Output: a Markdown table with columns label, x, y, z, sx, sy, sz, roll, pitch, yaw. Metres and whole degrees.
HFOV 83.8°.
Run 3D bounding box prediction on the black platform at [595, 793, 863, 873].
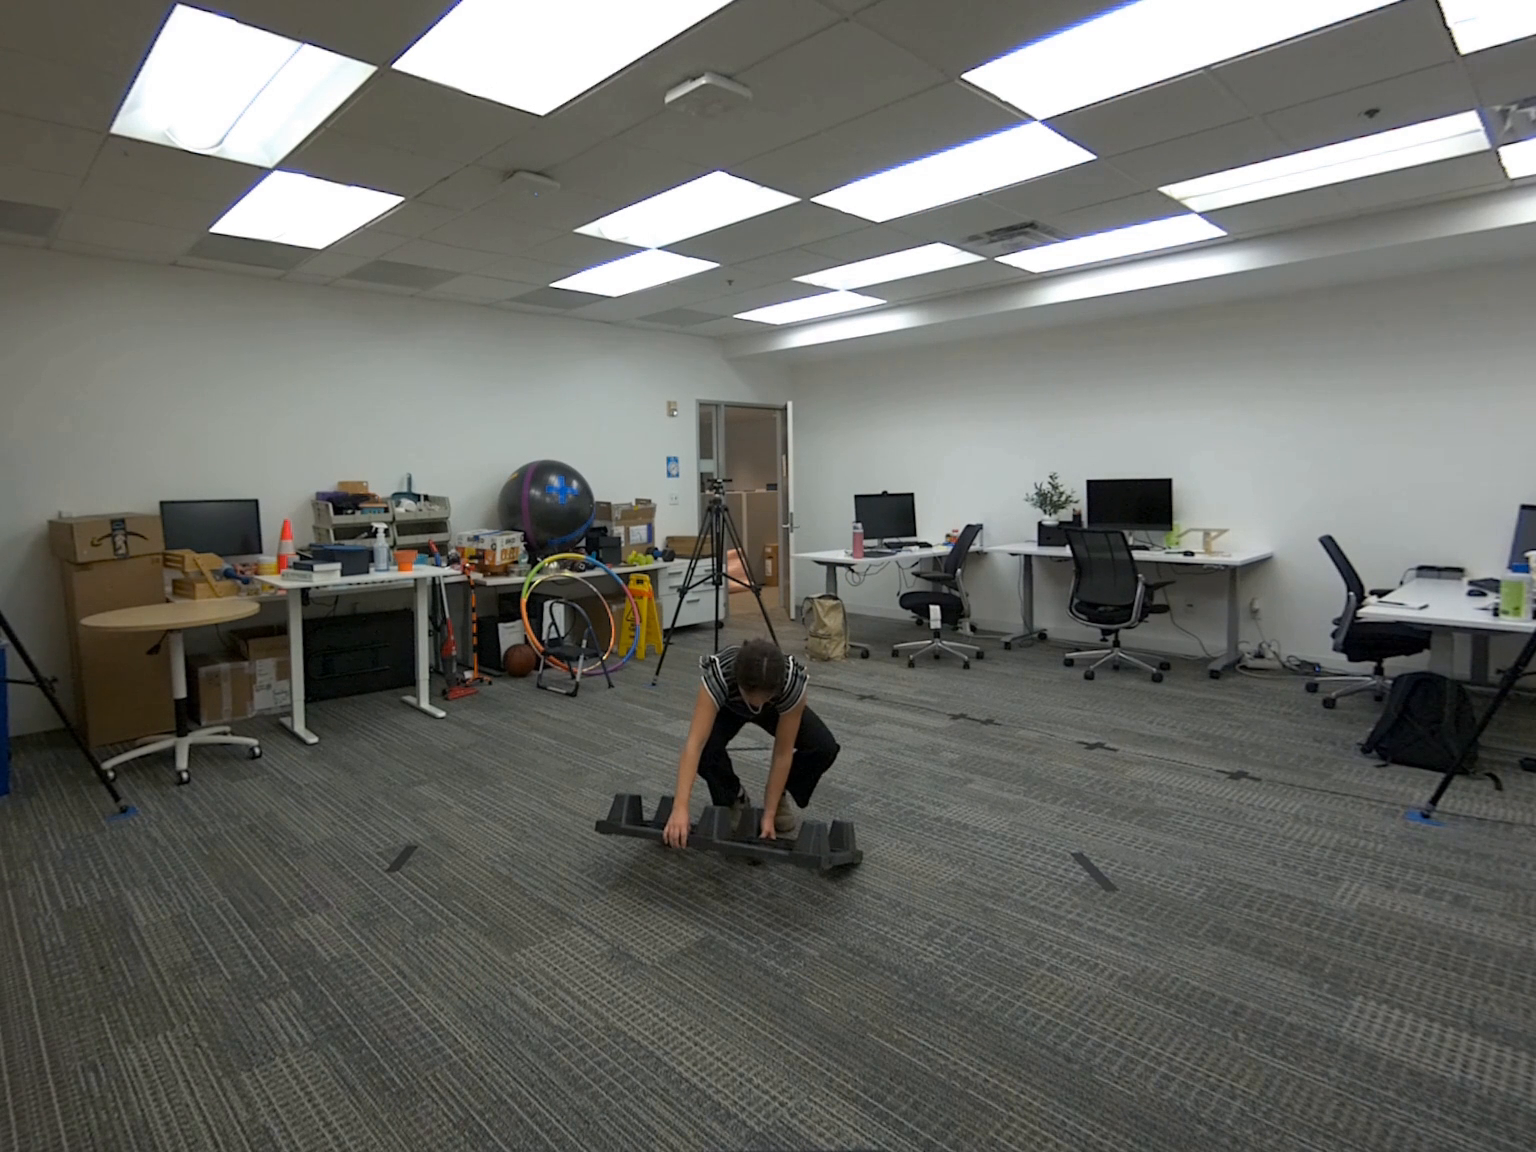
| label | x | y | z | sx | sy | sz | roll | pitch | yaw |
| --- | --- | --- | --- | --- | --- | --- | --- | --- | --- |
| black platform | -0.115 | 0.893 | 3.015 | 0.823 | 0.145 | 0.586 | 2 | -14 | 22 |
